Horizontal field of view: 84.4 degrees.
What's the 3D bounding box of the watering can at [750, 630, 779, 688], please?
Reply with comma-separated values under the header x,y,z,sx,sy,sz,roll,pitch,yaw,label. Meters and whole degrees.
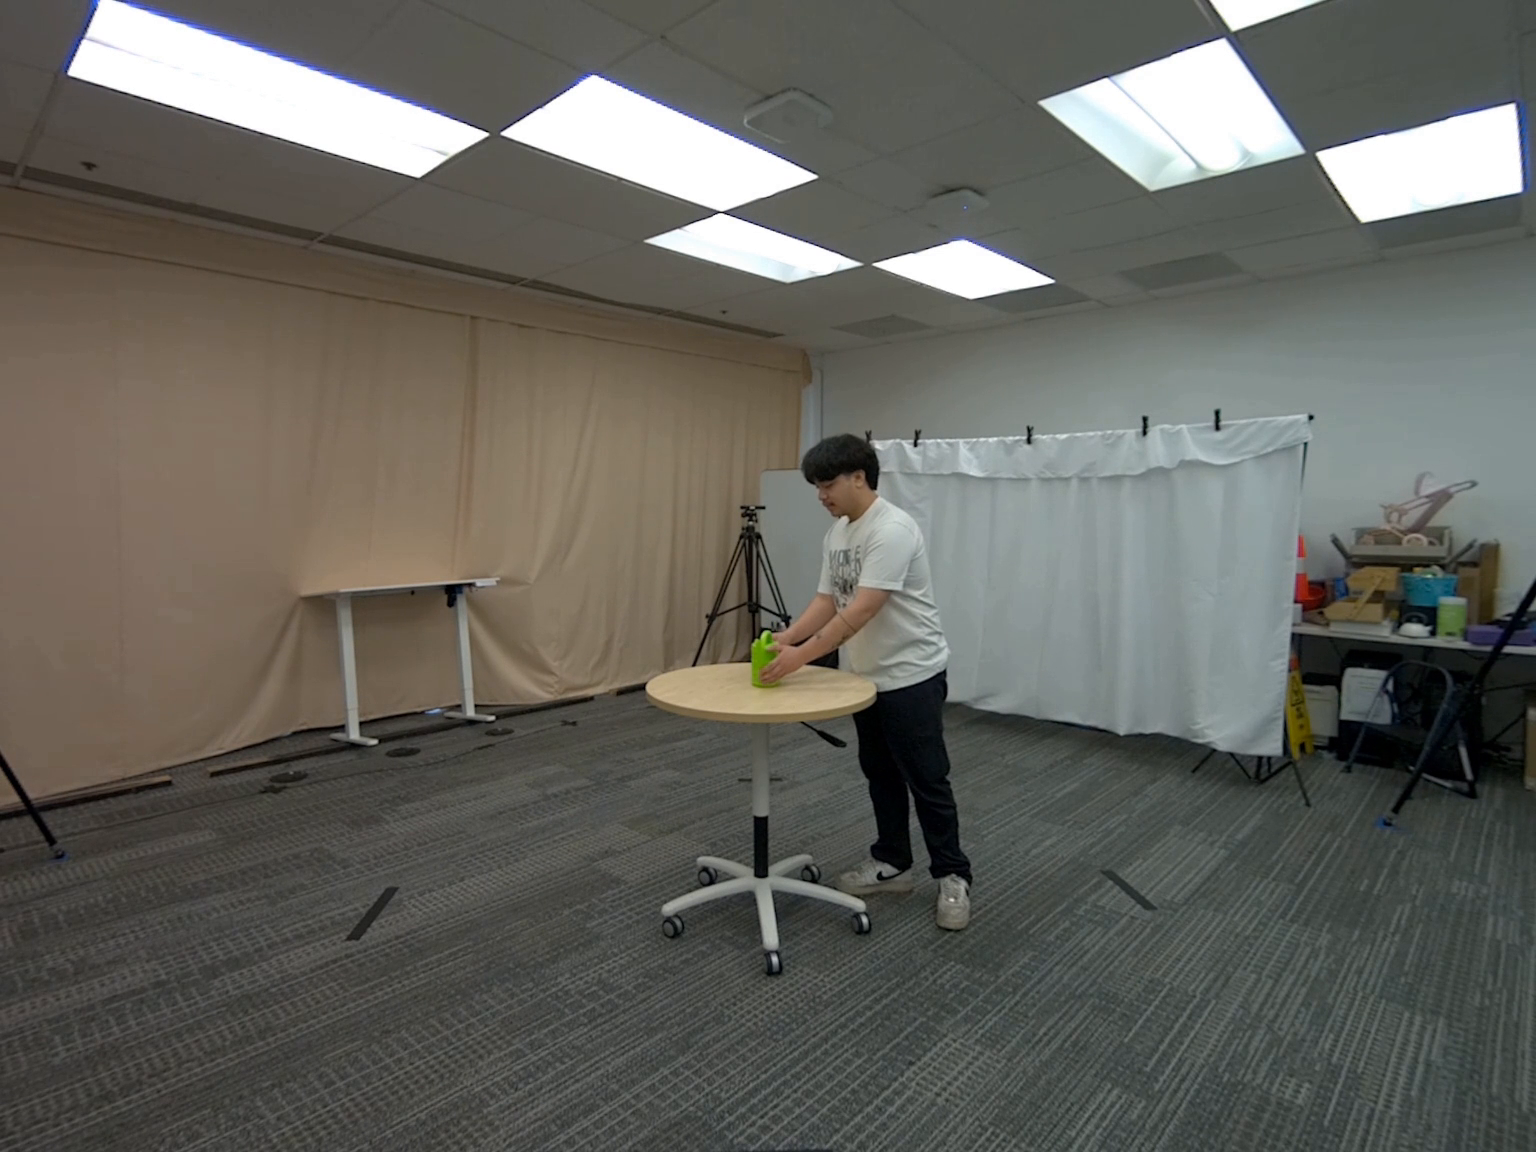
x,y,z,sx,sy,sz,roll,pitch,yaw,label
-0.019,0.286,2.806,0.100,0.176,0.272,1,4,22,watering can
